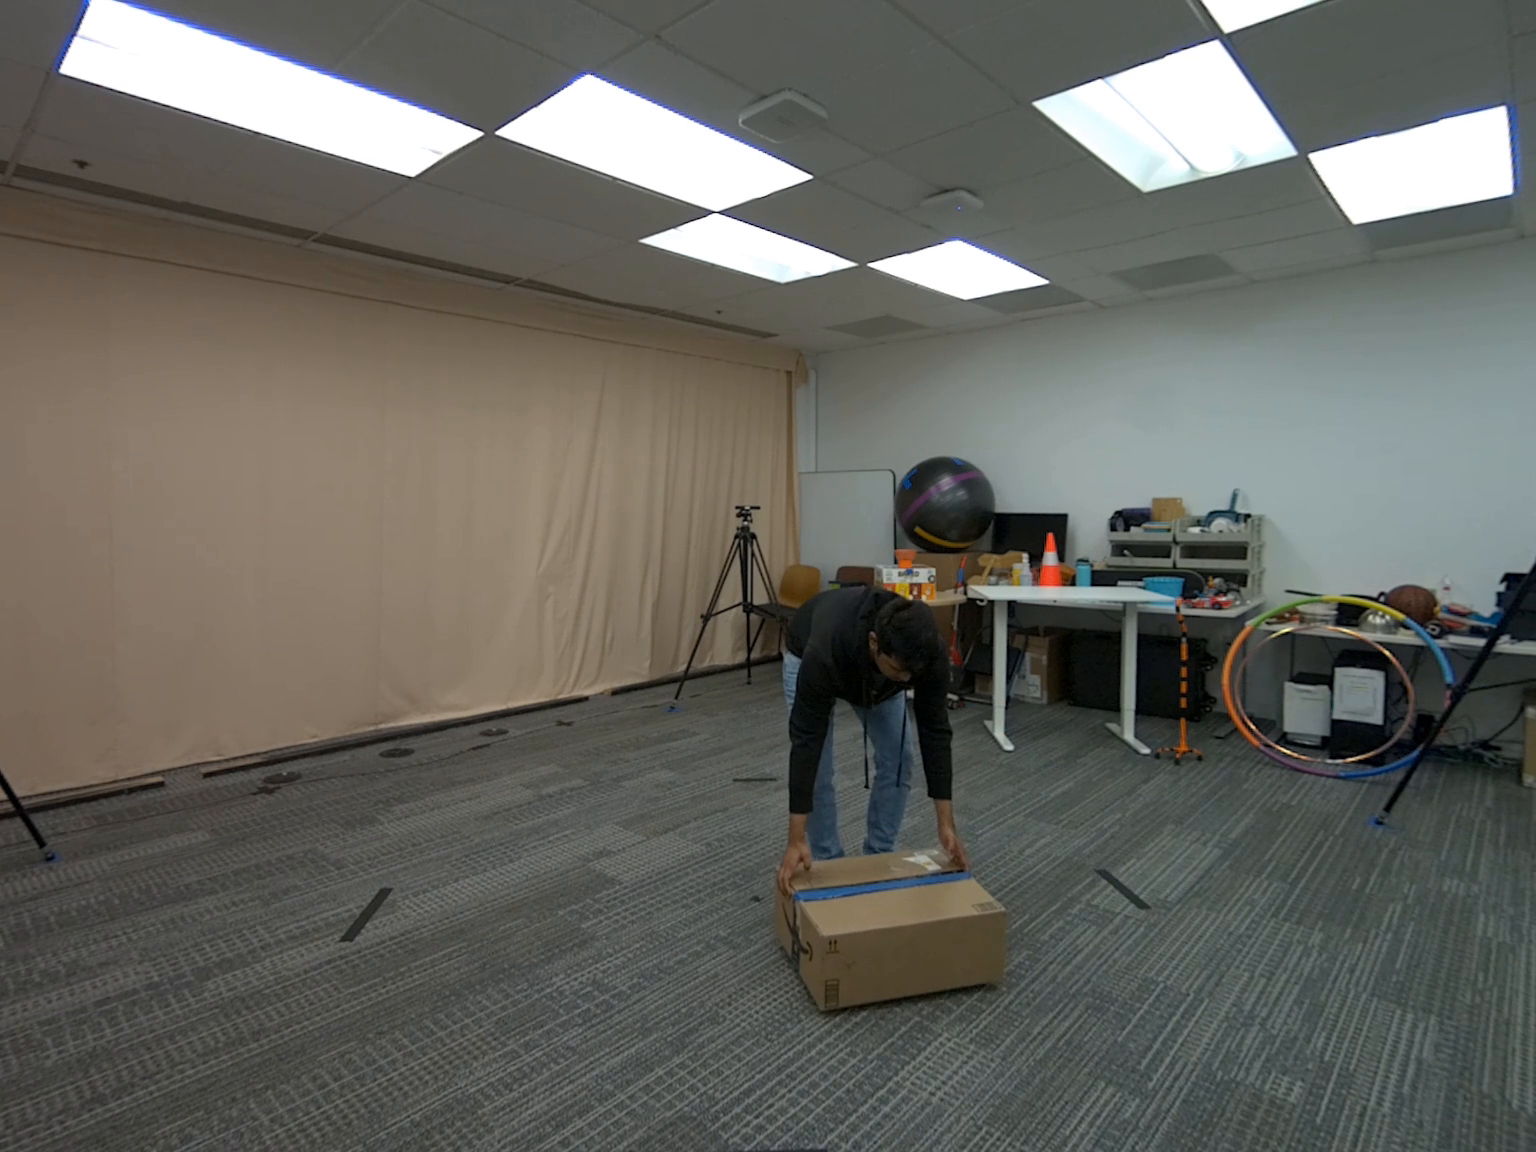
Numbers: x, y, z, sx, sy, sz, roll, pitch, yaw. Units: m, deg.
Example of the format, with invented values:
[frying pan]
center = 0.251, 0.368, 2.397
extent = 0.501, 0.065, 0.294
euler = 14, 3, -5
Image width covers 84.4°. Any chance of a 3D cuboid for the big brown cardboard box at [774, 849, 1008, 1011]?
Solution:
[big brown cardboard box]
center = 0.360, 1.031, 2.538
extent = 0.579, 0.232, 0.426
euler = -2, 7, -16
